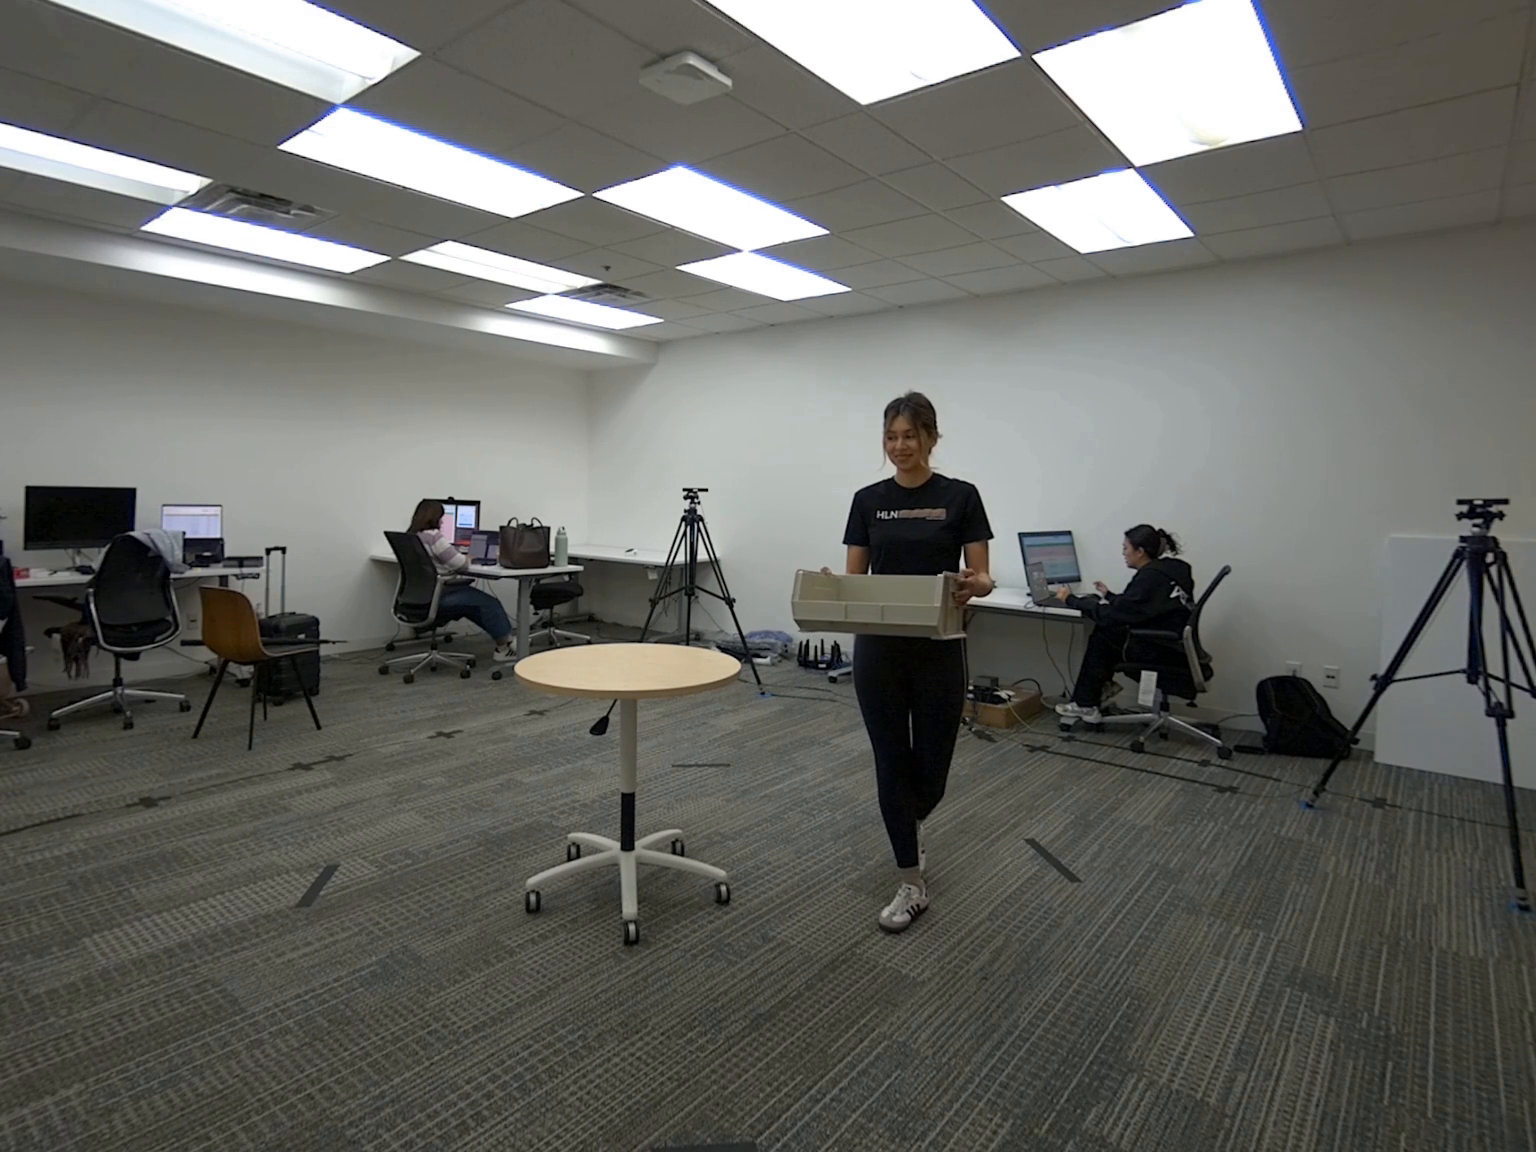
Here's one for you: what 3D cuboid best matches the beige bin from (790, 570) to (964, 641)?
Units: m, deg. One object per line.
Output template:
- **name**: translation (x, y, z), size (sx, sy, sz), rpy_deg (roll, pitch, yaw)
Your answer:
- **beige bin**: translation (0.322, 0.086, 2.448), size (0.433, 0.190, 0.366), rpy_deg (0, -5, 26)
